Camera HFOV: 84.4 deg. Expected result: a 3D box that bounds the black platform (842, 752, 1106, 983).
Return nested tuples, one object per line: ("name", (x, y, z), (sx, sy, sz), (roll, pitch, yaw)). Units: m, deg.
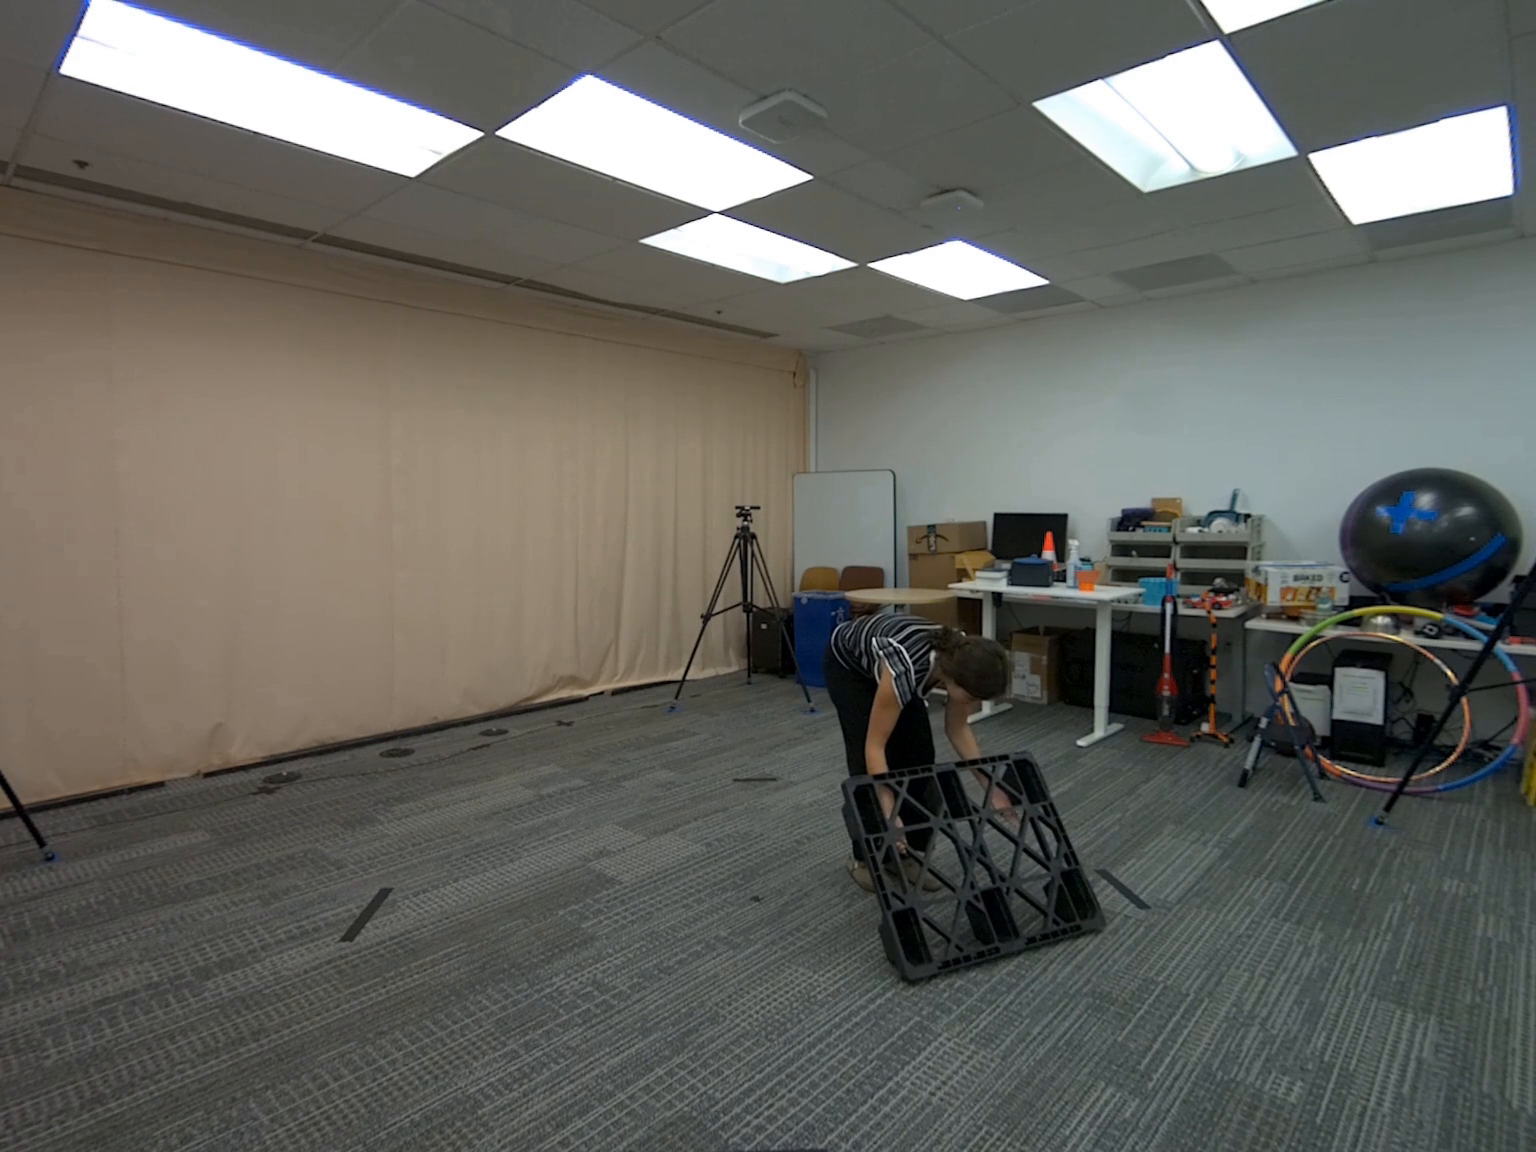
("black platform", (0.659, 0.931, 2.779), (0.787, 0.619, 0.143), (-2, -33, -24))
